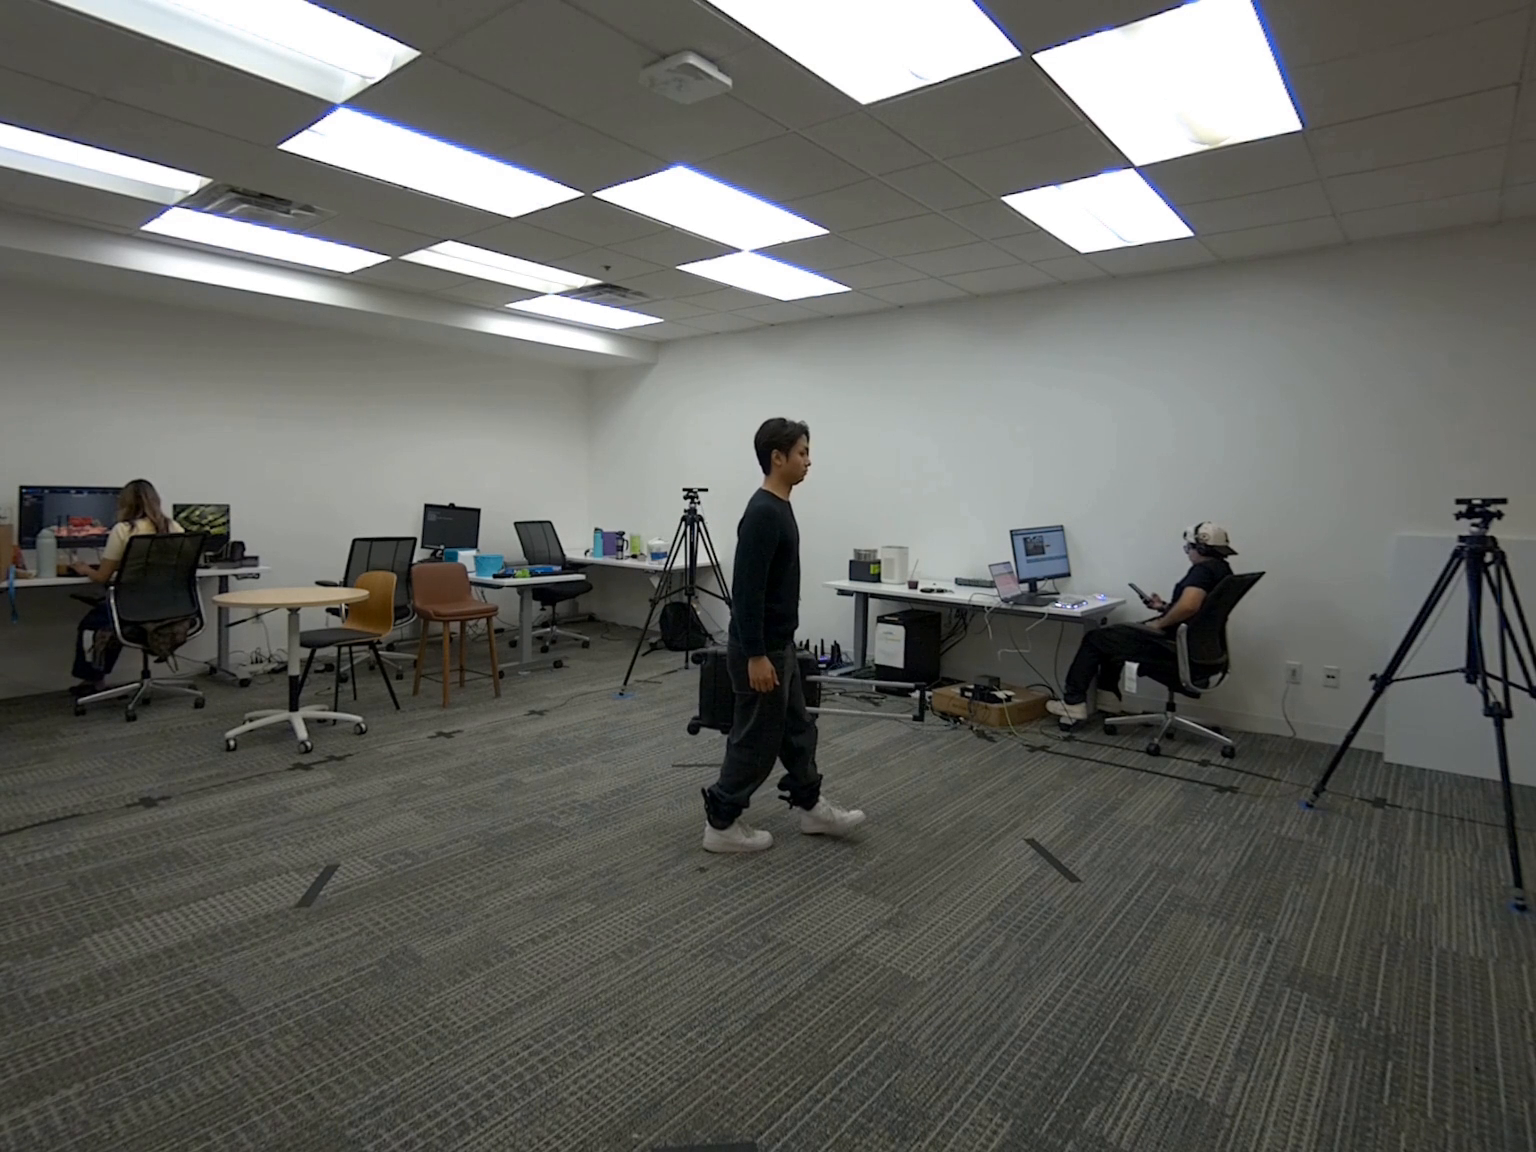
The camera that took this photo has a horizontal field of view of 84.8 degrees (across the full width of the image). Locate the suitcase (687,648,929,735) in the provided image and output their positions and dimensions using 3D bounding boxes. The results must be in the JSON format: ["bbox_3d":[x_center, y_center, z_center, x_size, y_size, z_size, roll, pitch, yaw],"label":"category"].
[{"bbox_3d":[0.143,0.491,3.654,0.980,0.385,0.255,3,-4,1],"label":"suitcase"}]
